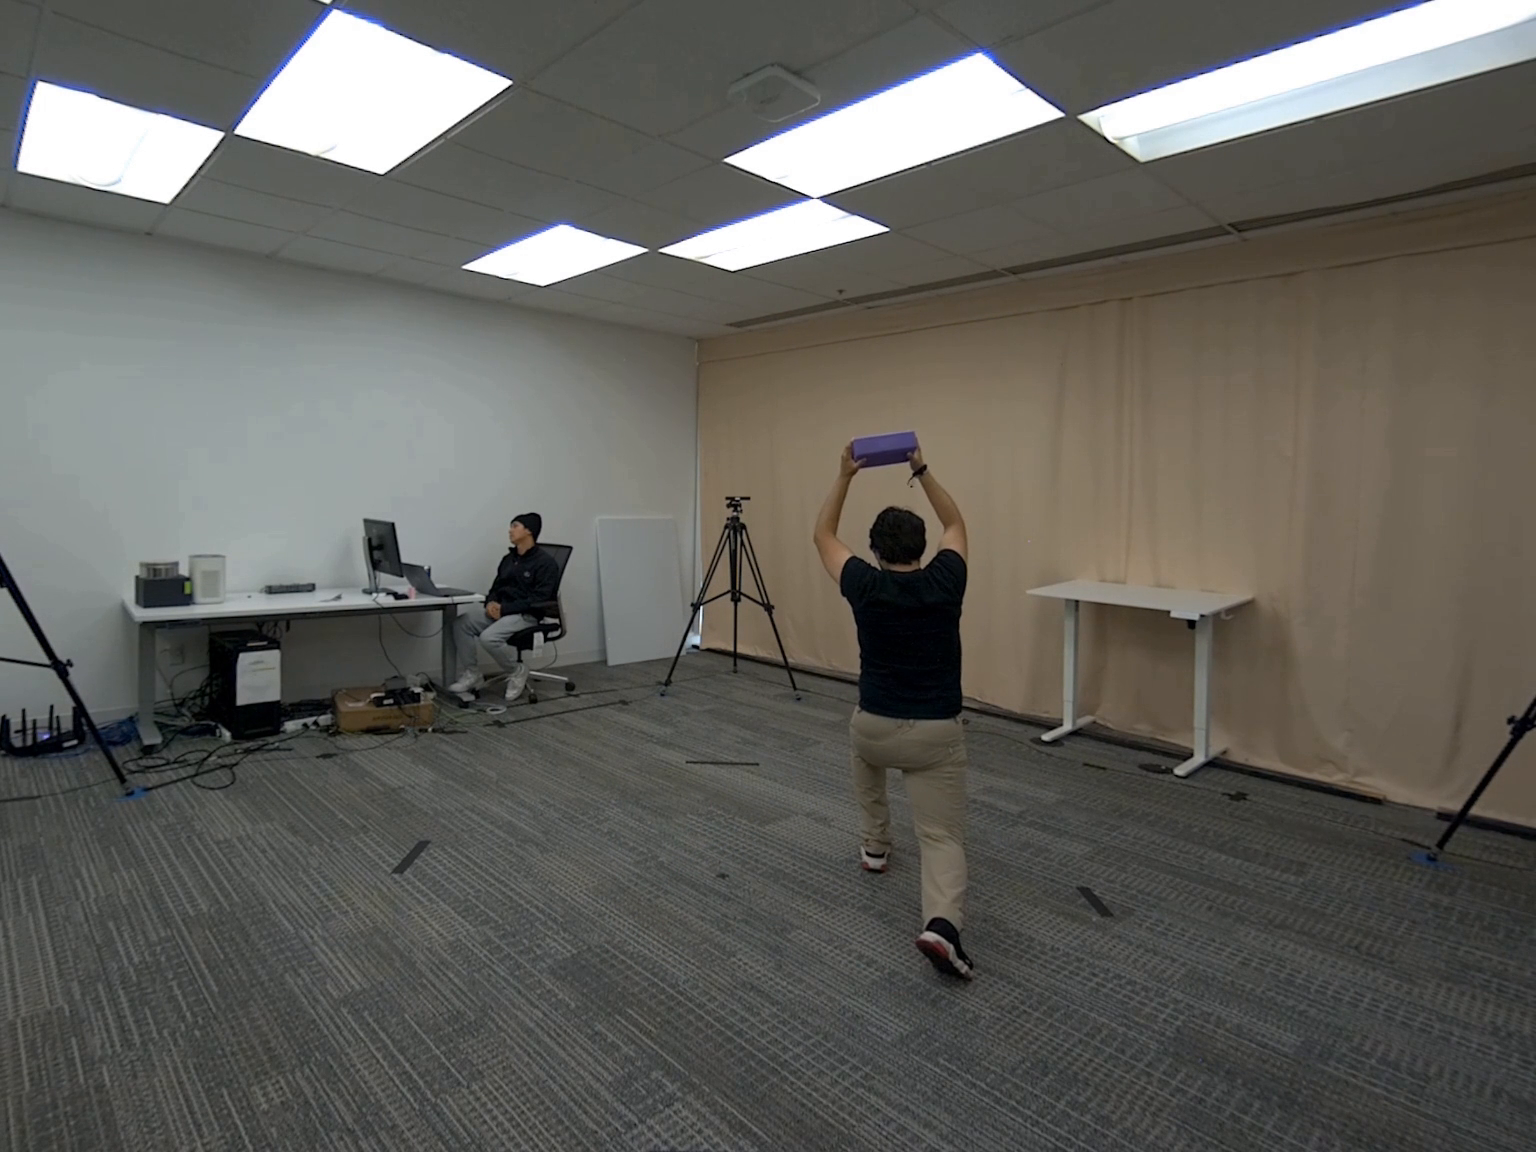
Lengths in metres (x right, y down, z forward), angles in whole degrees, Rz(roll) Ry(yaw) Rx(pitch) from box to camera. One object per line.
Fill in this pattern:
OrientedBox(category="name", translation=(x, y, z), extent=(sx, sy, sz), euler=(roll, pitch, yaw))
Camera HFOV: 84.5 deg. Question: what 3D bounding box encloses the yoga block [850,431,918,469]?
OrientedBox(category="yoga block", translation=(0.423, -0.472, 3.141), extent=(0.229, 0.077, 0.147), euler=(-8, -14, -4))
